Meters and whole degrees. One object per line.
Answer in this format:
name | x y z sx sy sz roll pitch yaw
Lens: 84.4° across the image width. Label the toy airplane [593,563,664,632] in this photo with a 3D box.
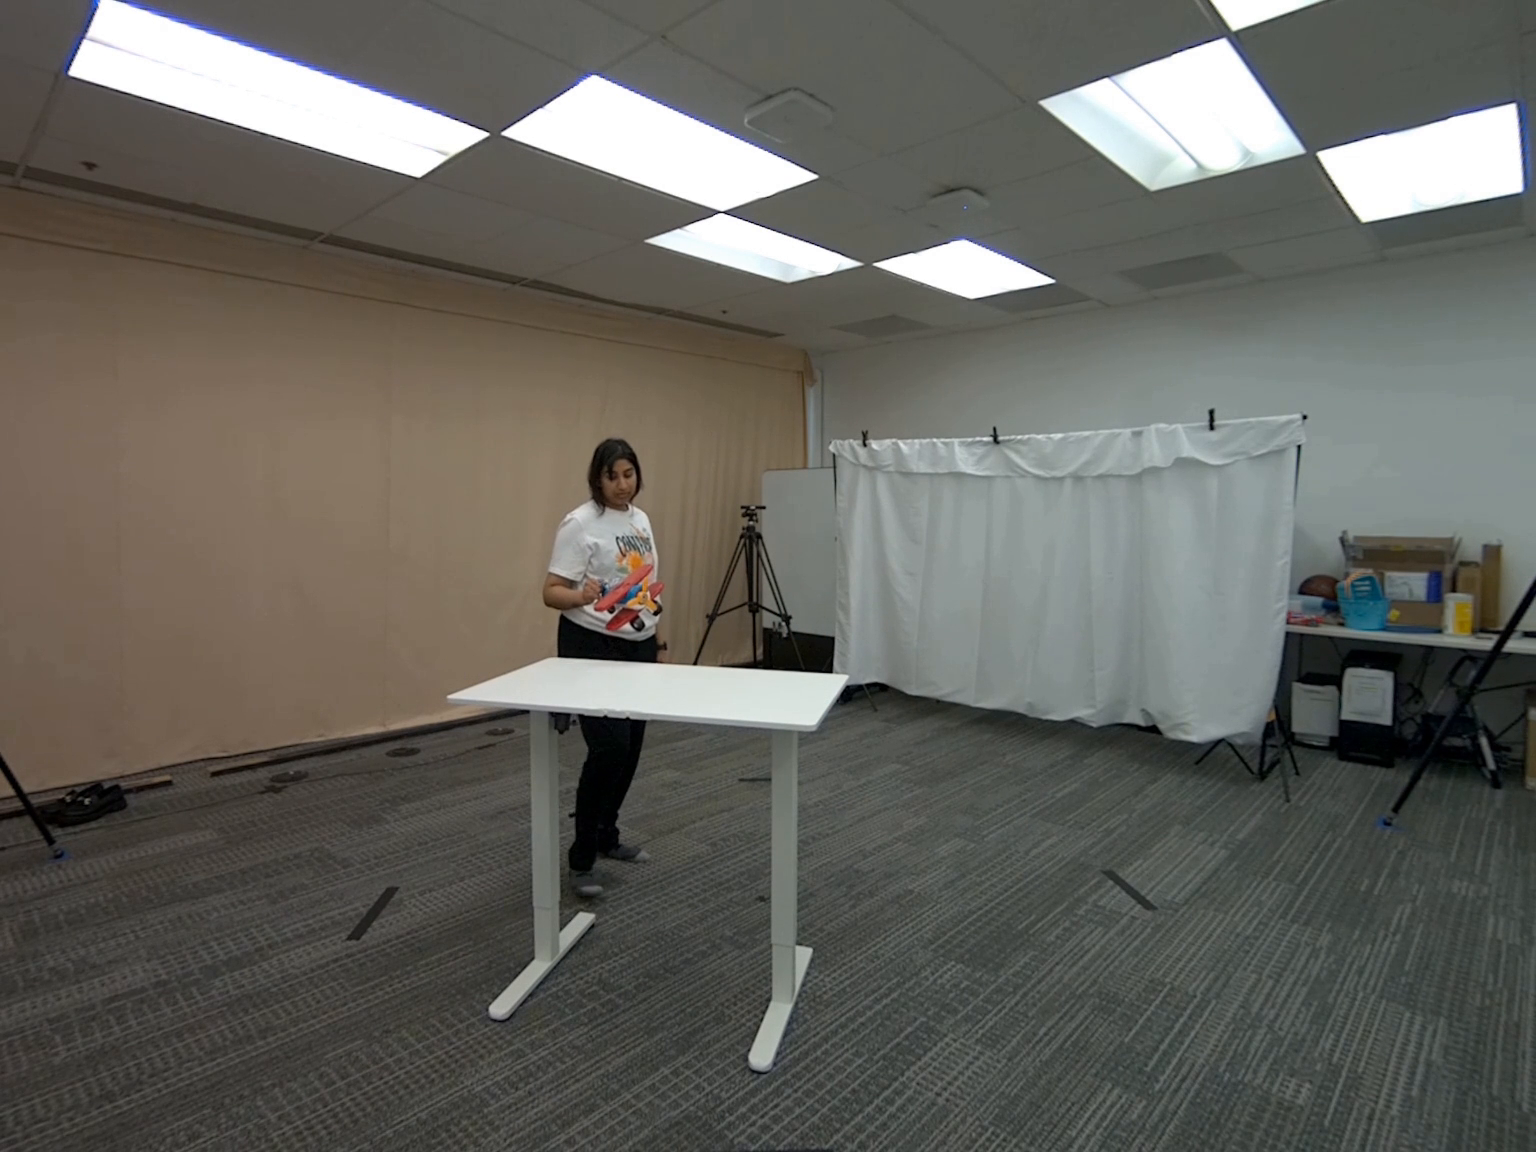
toy airplane | -0.486 0.093 2.852 0.264 0.152 0.253 -6 37 20
